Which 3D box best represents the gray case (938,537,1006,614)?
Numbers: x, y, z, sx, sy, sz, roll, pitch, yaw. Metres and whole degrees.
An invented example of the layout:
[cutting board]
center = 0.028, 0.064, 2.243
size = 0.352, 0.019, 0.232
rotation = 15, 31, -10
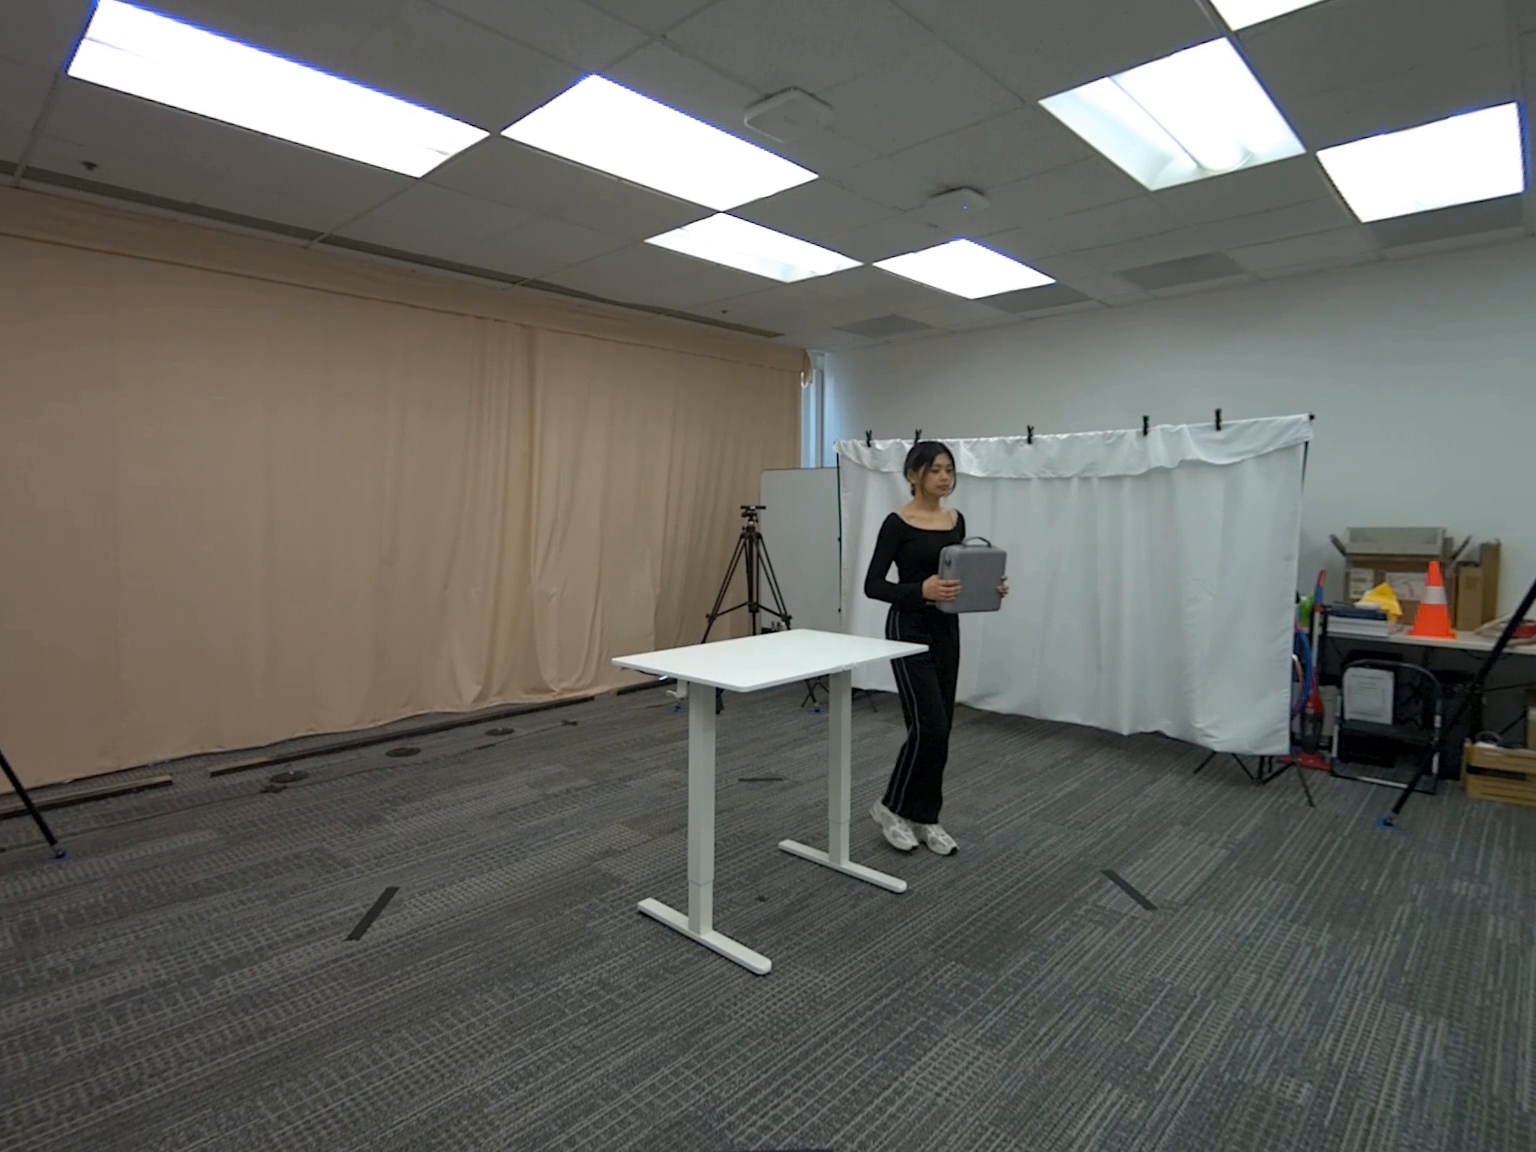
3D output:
[gray case]
center = 0.784, 0.009, 3.217
size = 0.252, 0.259, 0.107
rotation = -2, 11, -21
